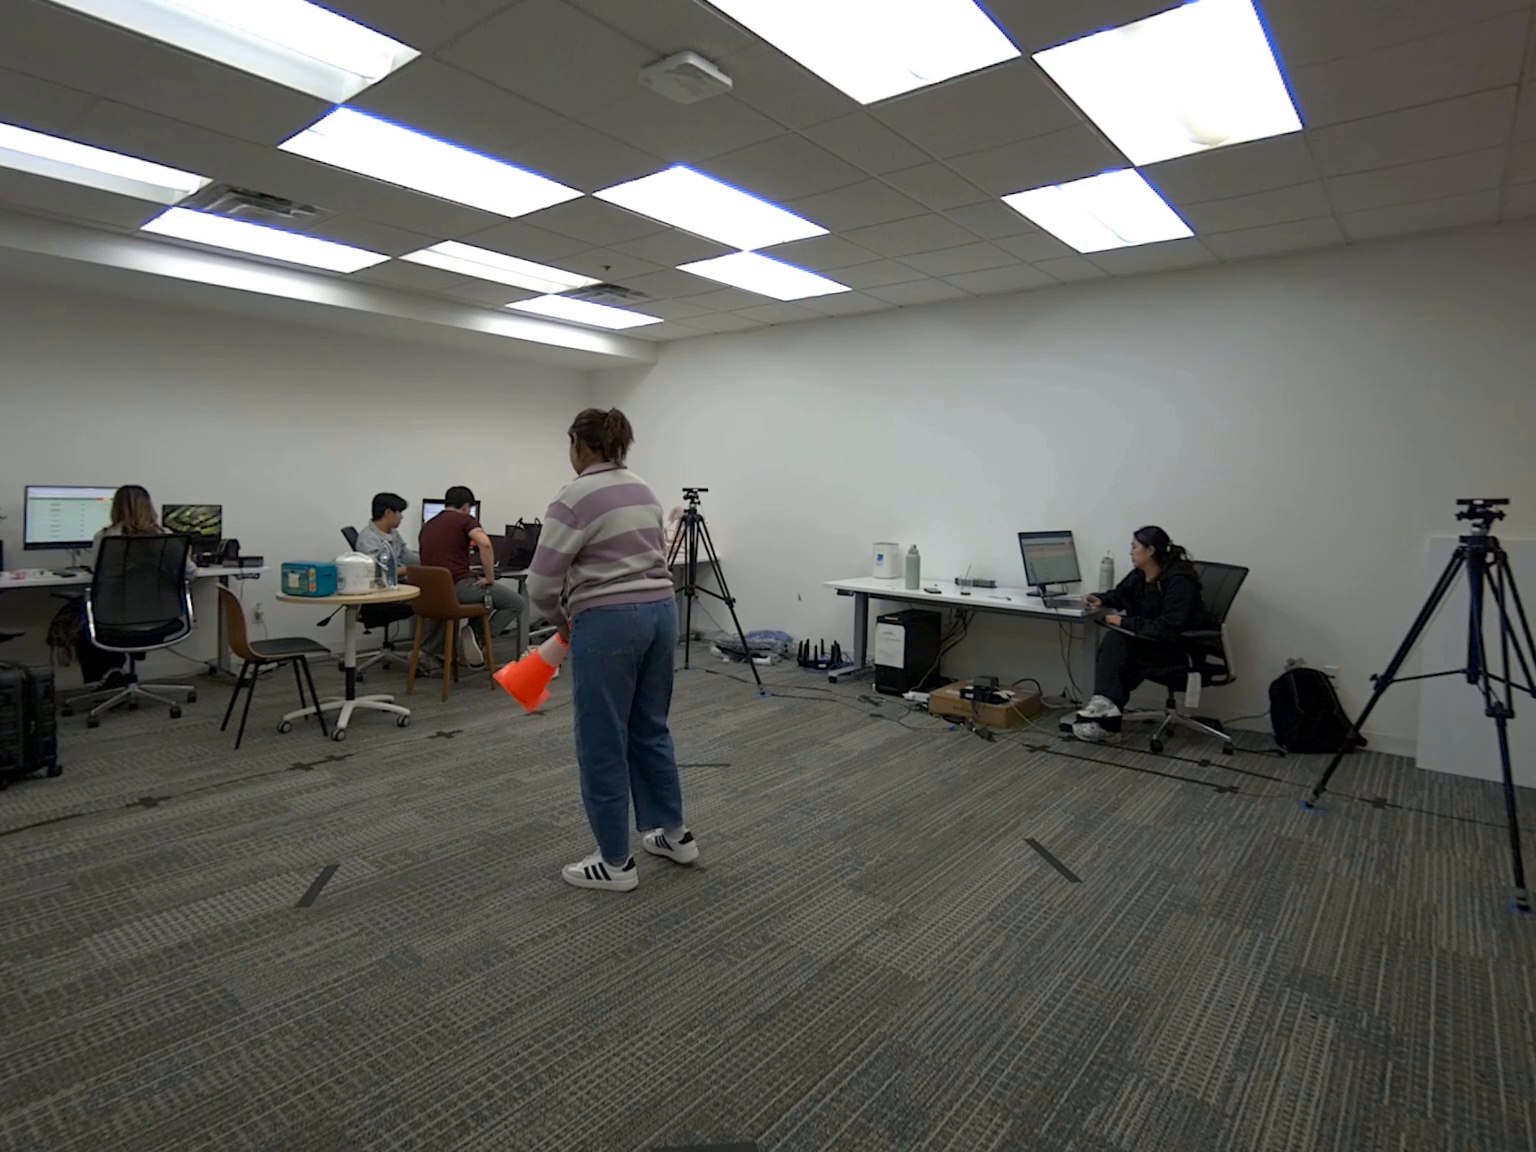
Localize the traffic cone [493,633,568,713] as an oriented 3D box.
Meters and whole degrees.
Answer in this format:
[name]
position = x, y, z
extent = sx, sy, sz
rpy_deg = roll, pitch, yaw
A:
[traffic cone]
position = -0.810, 0.284, 3.172
extent = 0.204, 0.383, 0.205
rpy_deg = 42, 15, -1
